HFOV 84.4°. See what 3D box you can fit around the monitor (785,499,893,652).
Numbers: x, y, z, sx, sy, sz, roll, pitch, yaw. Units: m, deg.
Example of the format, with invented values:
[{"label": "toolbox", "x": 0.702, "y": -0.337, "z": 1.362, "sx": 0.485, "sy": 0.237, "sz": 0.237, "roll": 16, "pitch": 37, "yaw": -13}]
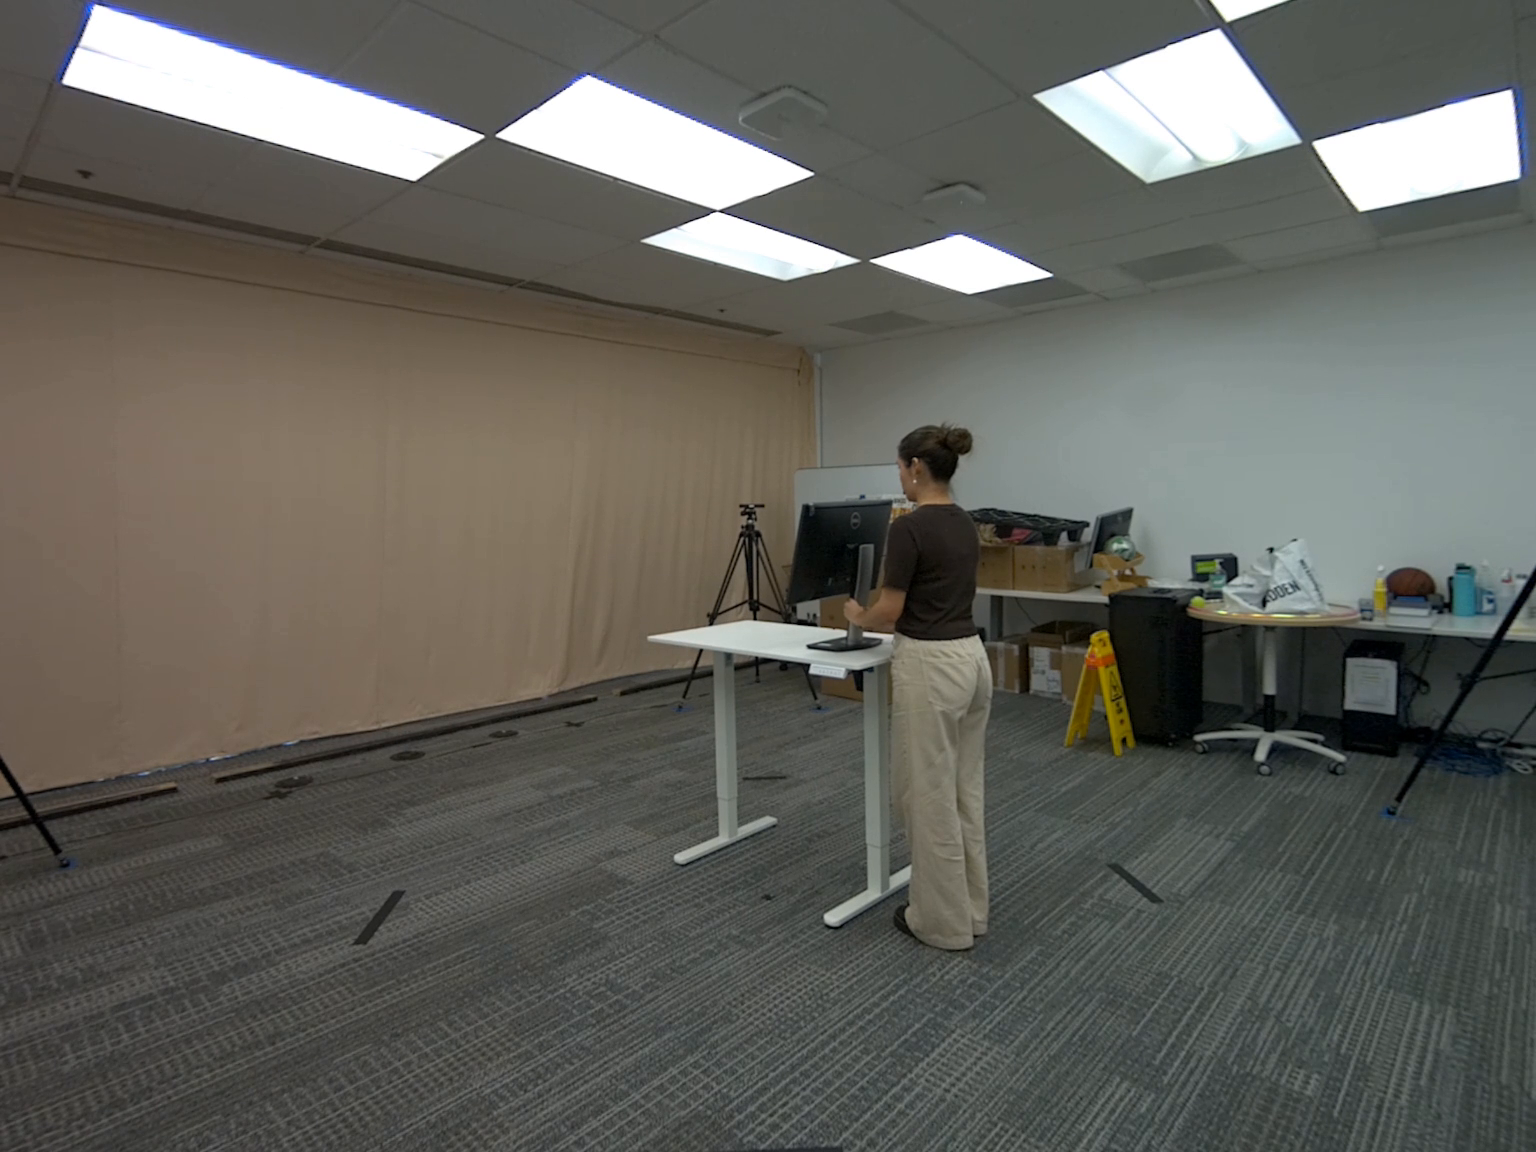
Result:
[{"label": "monitor", "x": 0.289, "y": -0.007, "z": 2.986, "sx": 0.180, "sy": 0.515, "sz": 0.514, "roll": -3, "pitch": 3, "yaw": 41}]
